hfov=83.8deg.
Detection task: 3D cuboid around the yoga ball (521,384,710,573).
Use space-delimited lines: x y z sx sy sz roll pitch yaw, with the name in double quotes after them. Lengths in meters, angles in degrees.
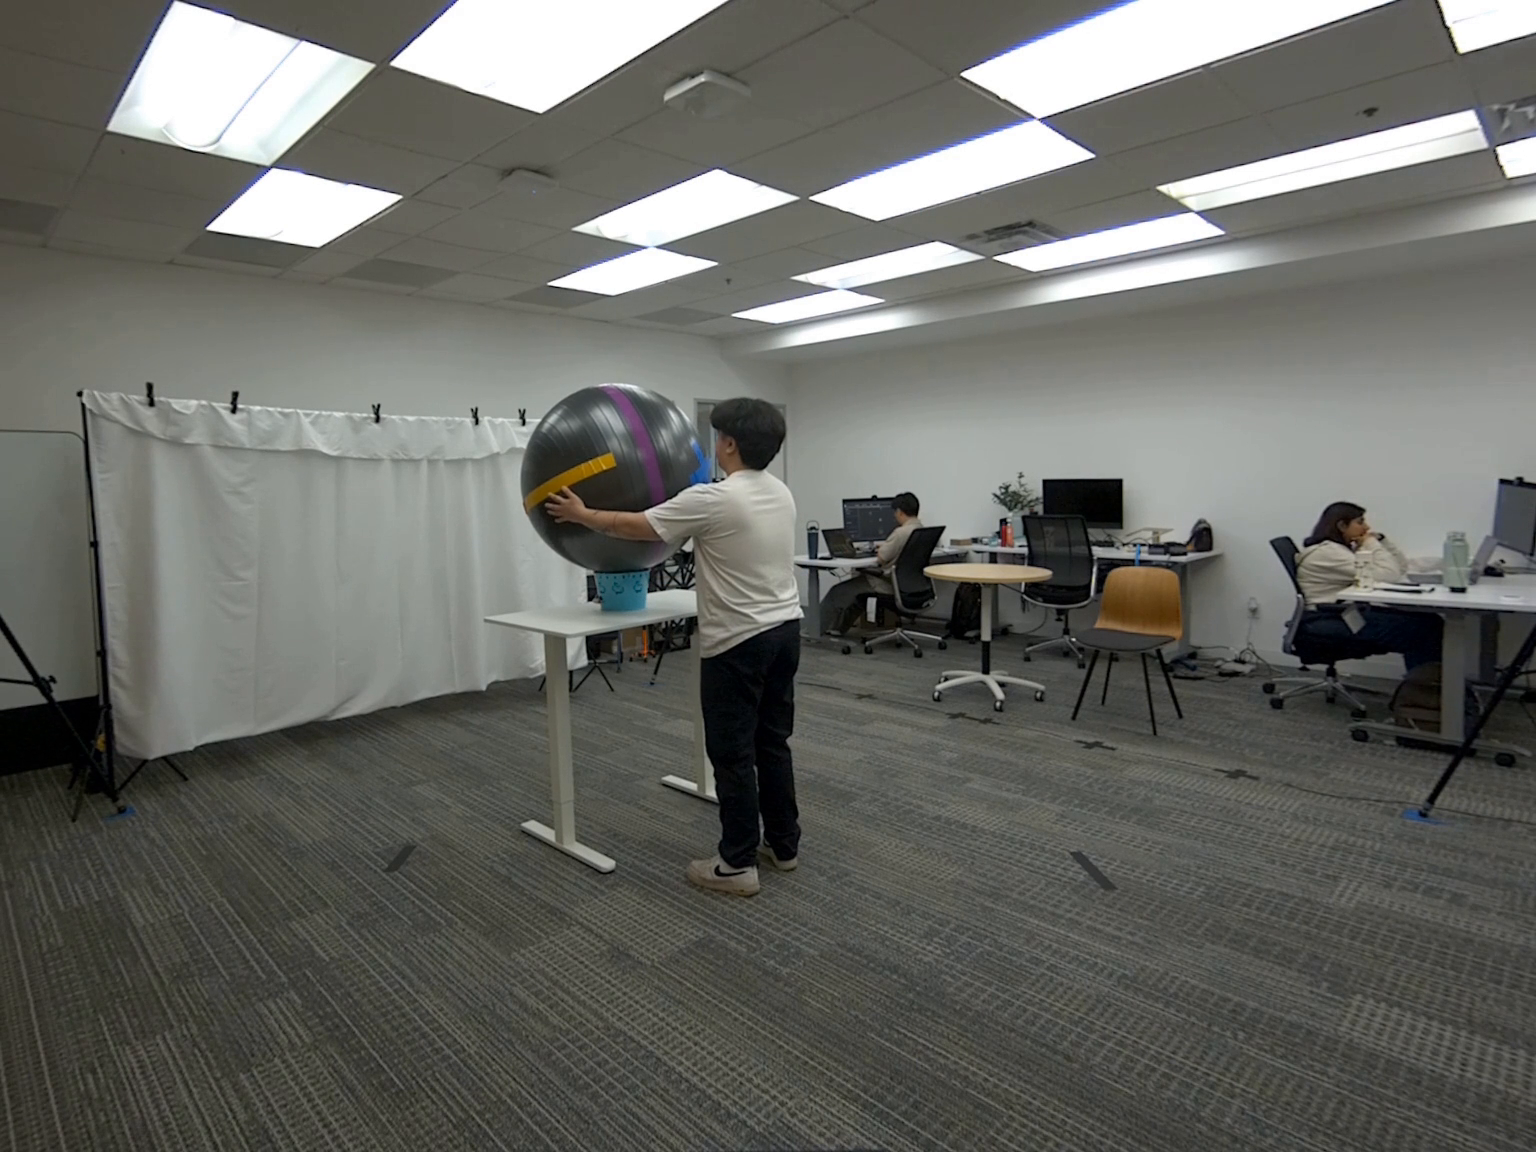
-0.607 -0.380 3.430 0.757 0.755 0.762 -1 5 -2 "yoga ball"
